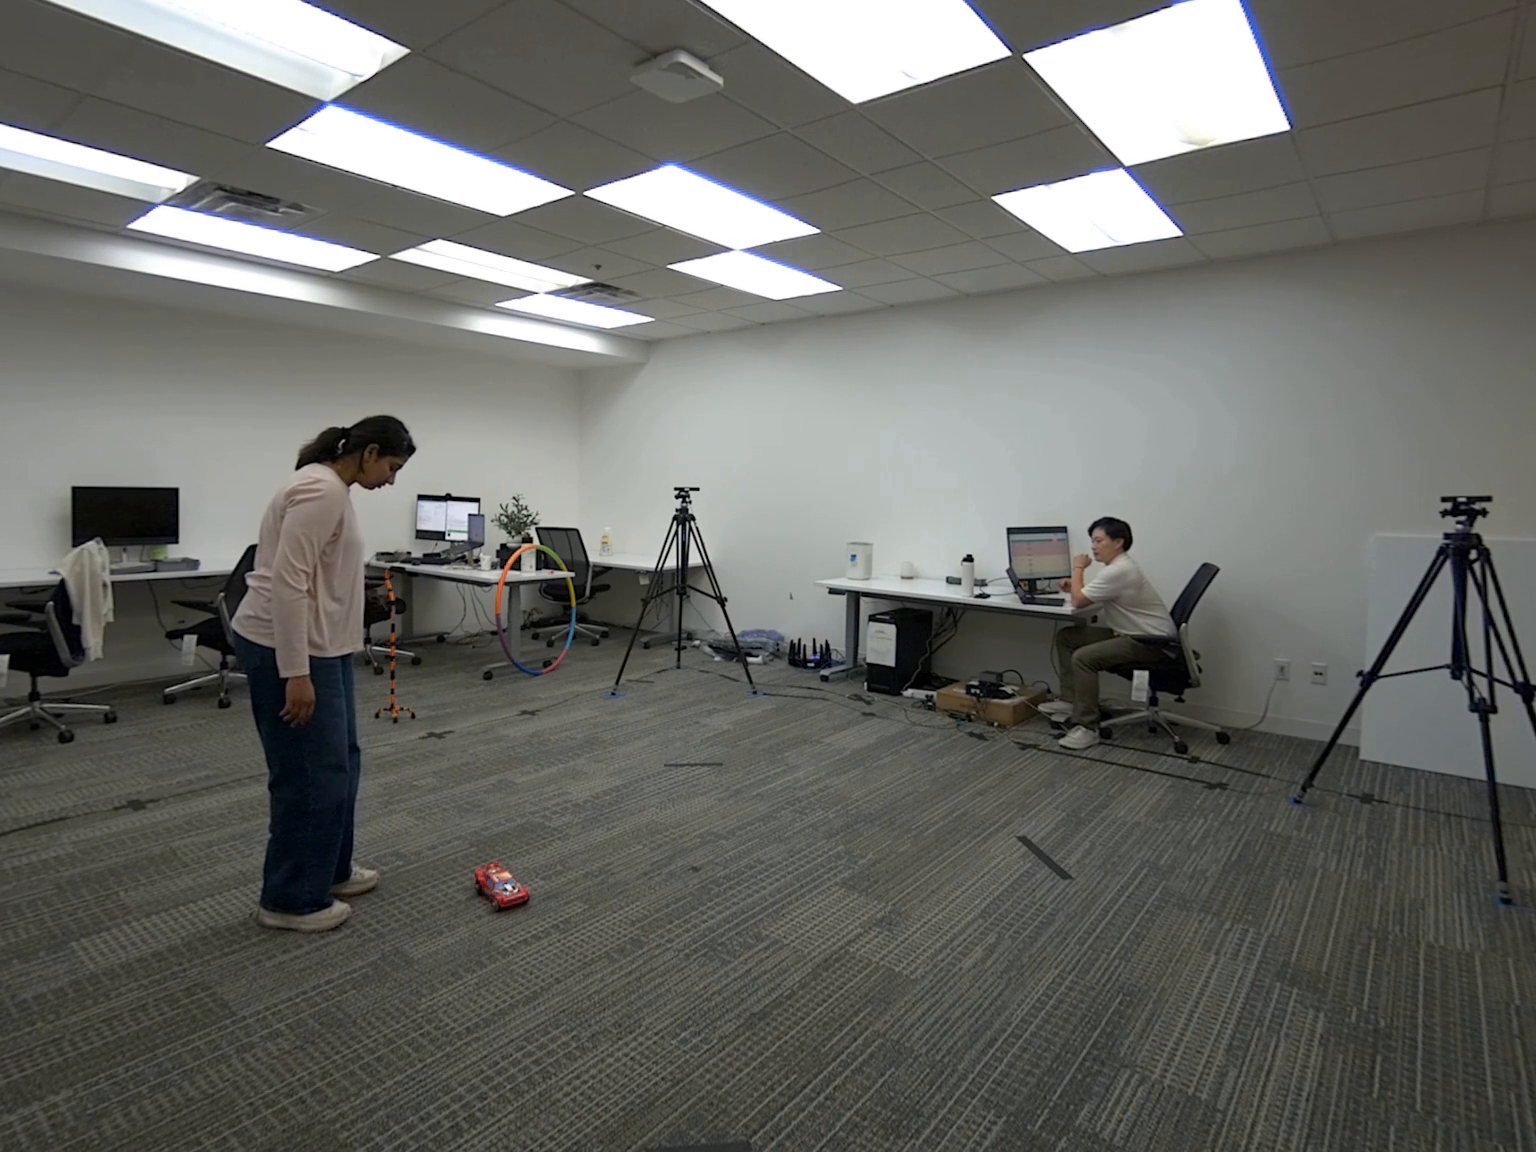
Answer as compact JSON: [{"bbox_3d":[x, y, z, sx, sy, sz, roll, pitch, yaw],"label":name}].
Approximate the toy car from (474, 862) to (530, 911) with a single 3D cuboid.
[{"bbox_3d":[-0.921,1.053,2.873,0.126,0.082,0.265,-4,18,-38],"label":"toy car"}]
